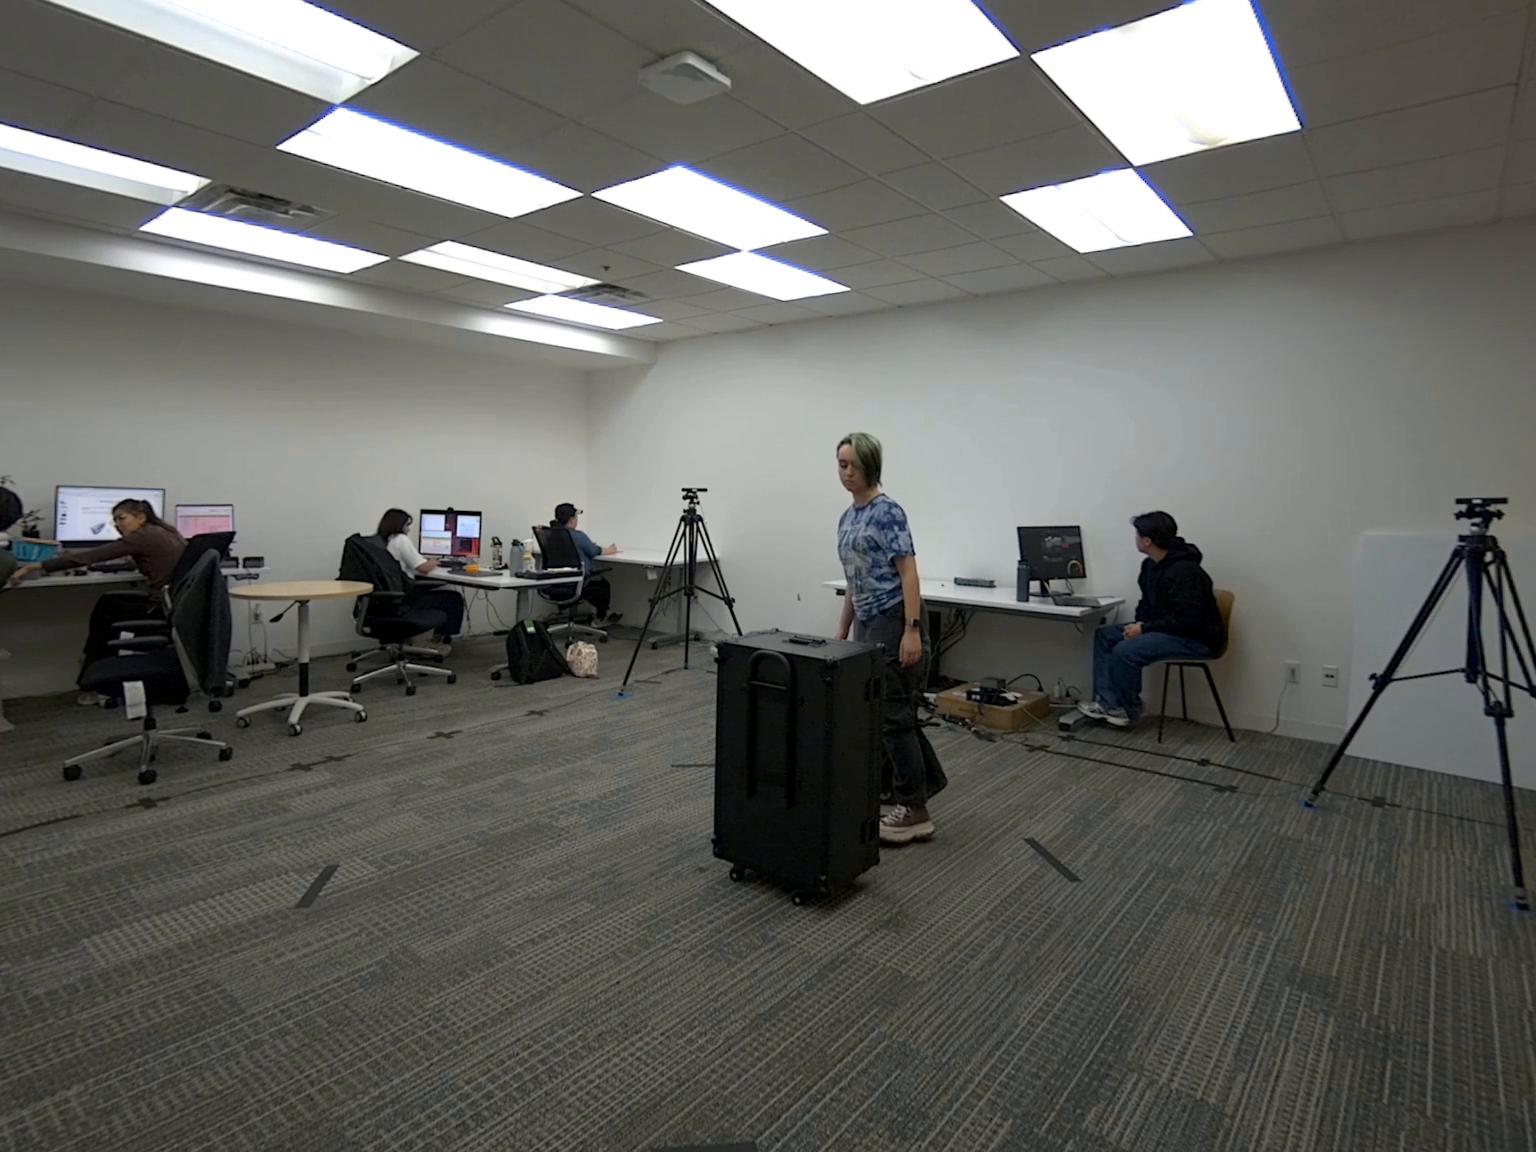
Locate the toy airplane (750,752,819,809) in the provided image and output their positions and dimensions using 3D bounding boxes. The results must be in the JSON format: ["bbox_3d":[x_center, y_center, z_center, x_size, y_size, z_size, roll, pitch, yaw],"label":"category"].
[{"bbox_3d":[0.067,0.920,3.813,0.248,0.156,0.263,0,6,-11],"label":"toy airplane"}]
